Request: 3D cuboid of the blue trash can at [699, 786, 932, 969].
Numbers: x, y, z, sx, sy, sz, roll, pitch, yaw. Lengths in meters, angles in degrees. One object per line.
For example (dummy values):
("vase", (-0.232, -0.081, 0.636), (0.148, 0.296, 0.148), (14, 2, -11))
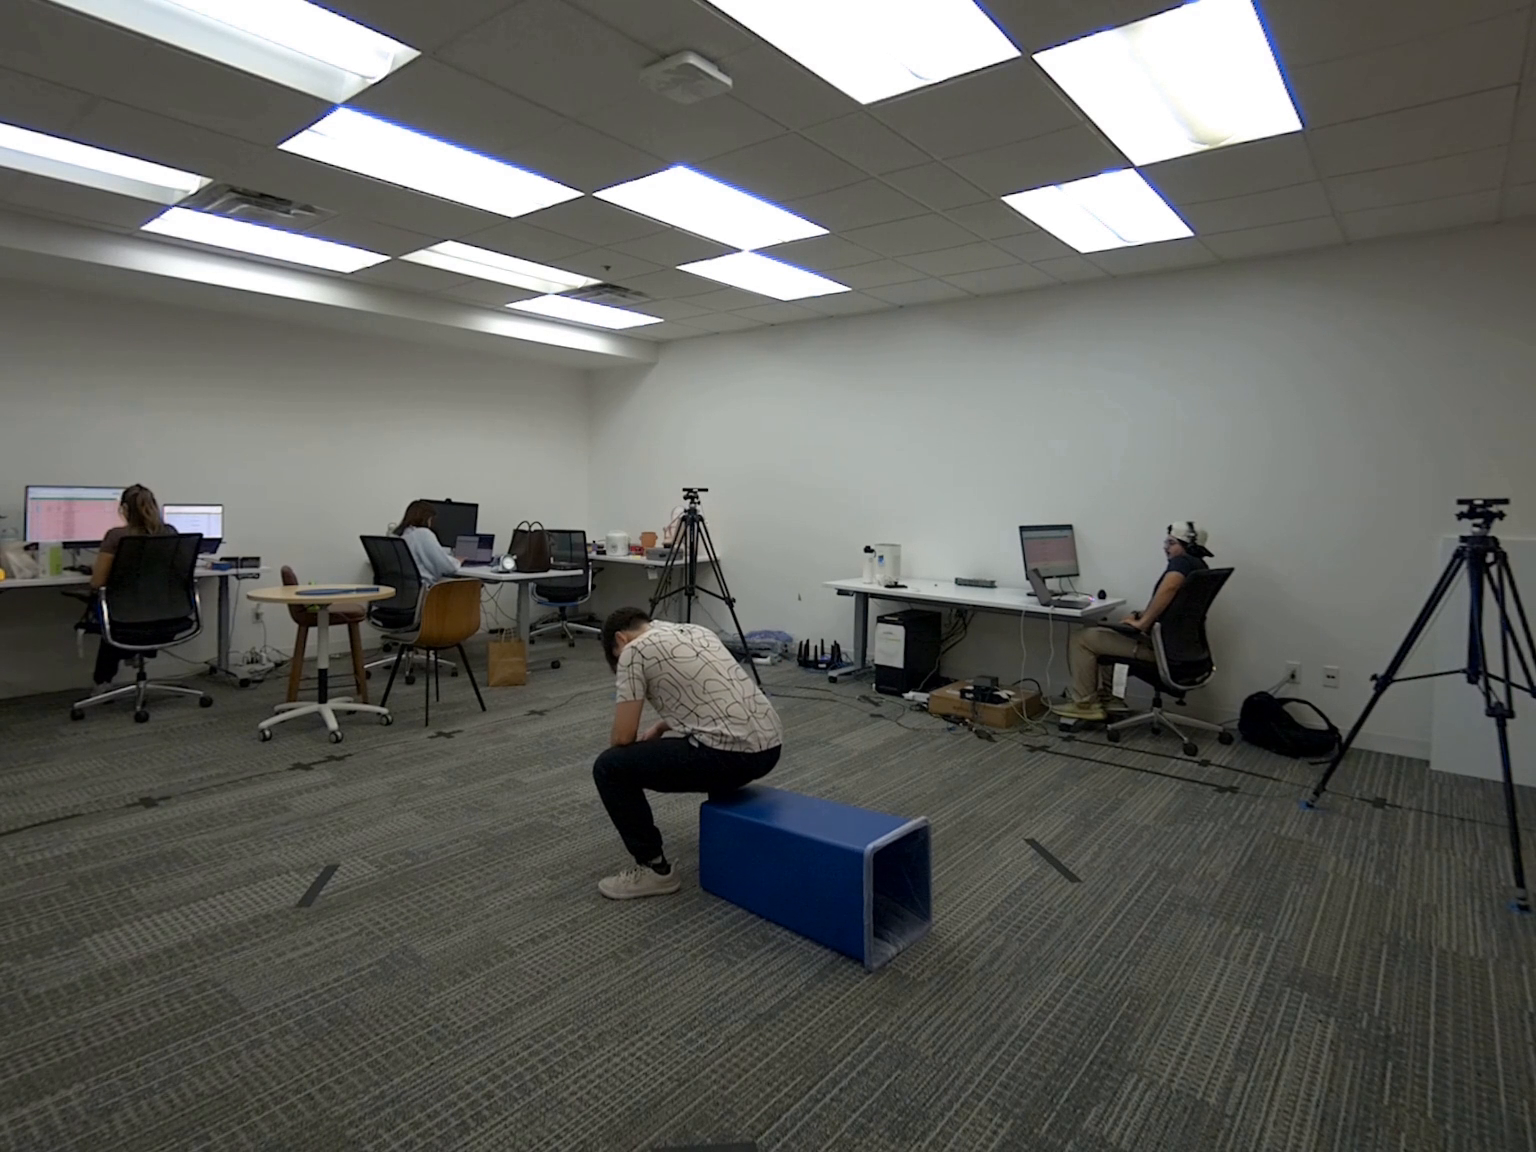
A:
("blue trash can", (0.123, 0.930, 2.822), (0.737, 0.377, 0.363), (3, 5, 42))
